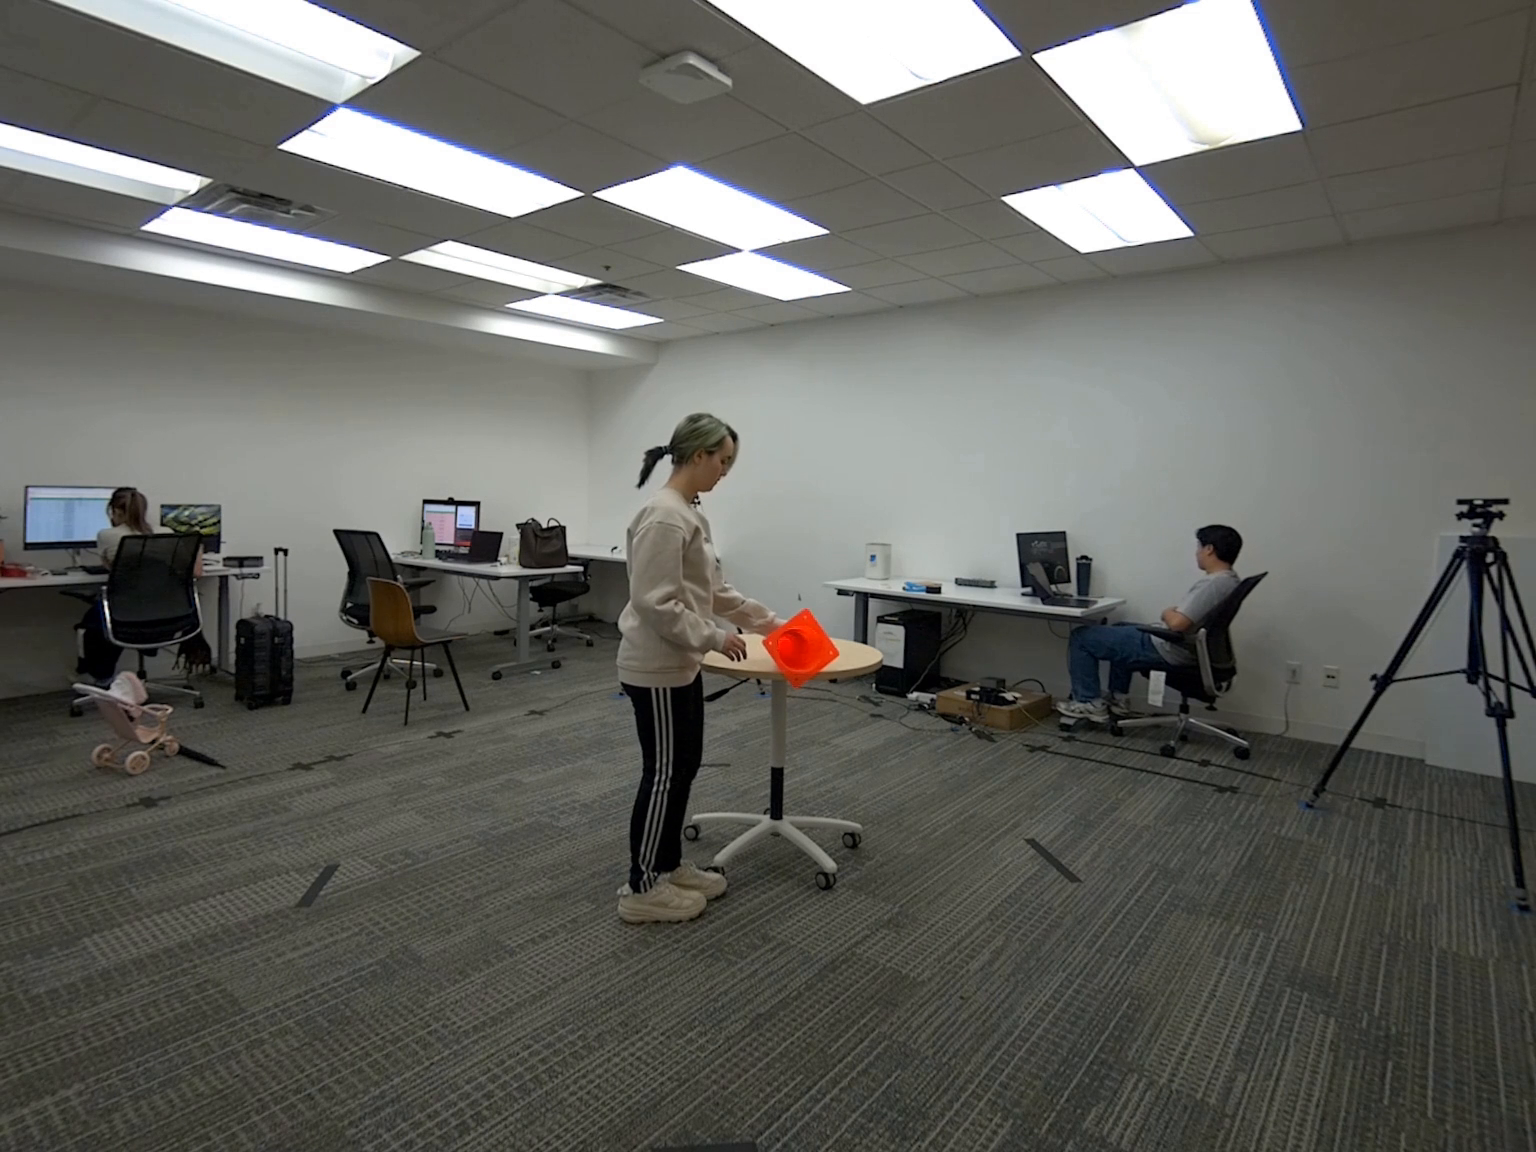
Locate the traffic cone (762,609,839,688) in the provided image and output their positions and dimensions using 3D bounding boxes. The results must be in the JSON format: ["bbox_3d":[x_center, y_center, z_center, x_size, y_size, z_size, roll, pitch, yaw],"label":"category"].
[{"bbox_3d":[0.060,0.260,3.026,0.203,0.205,0.385,-35,1,-10],"label":"traffic cone"}]
